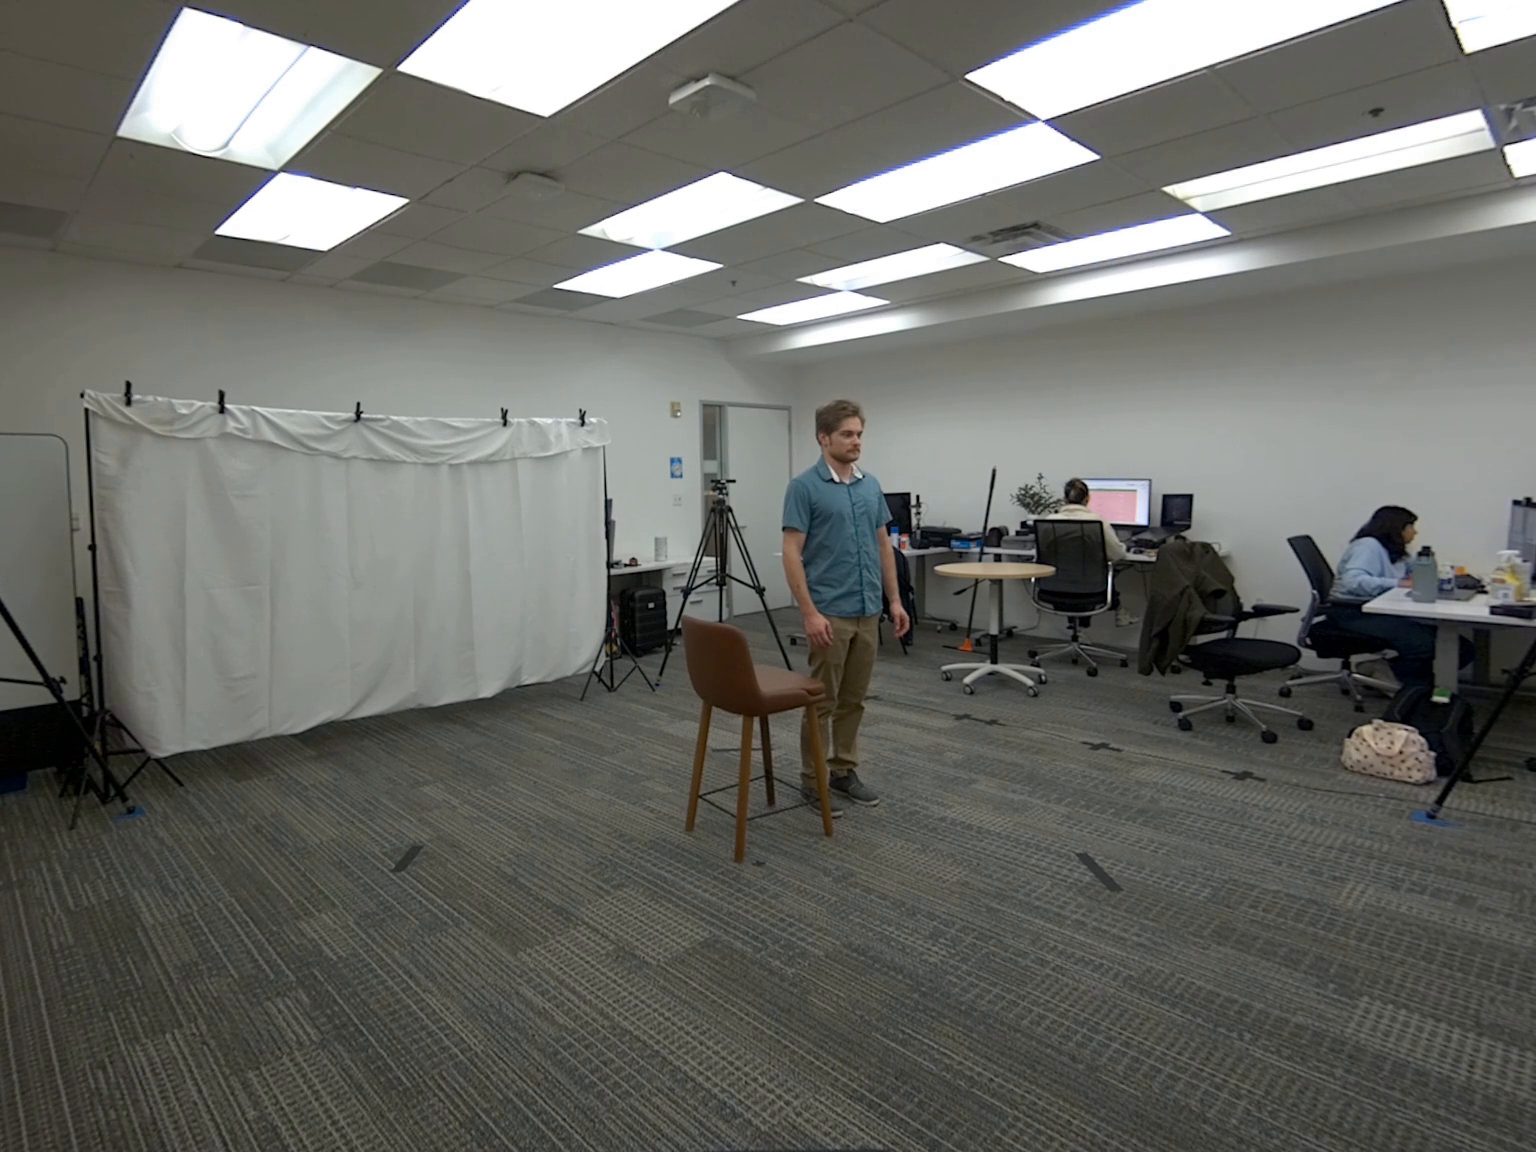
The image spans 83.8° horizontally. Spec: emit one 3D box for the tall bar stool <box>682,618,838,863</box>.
[{"bbox_3d":[-0.054,0.584,3.358,0.456,0.885,0.470,-6,6,-35],"label":"tall bar stool"}]
